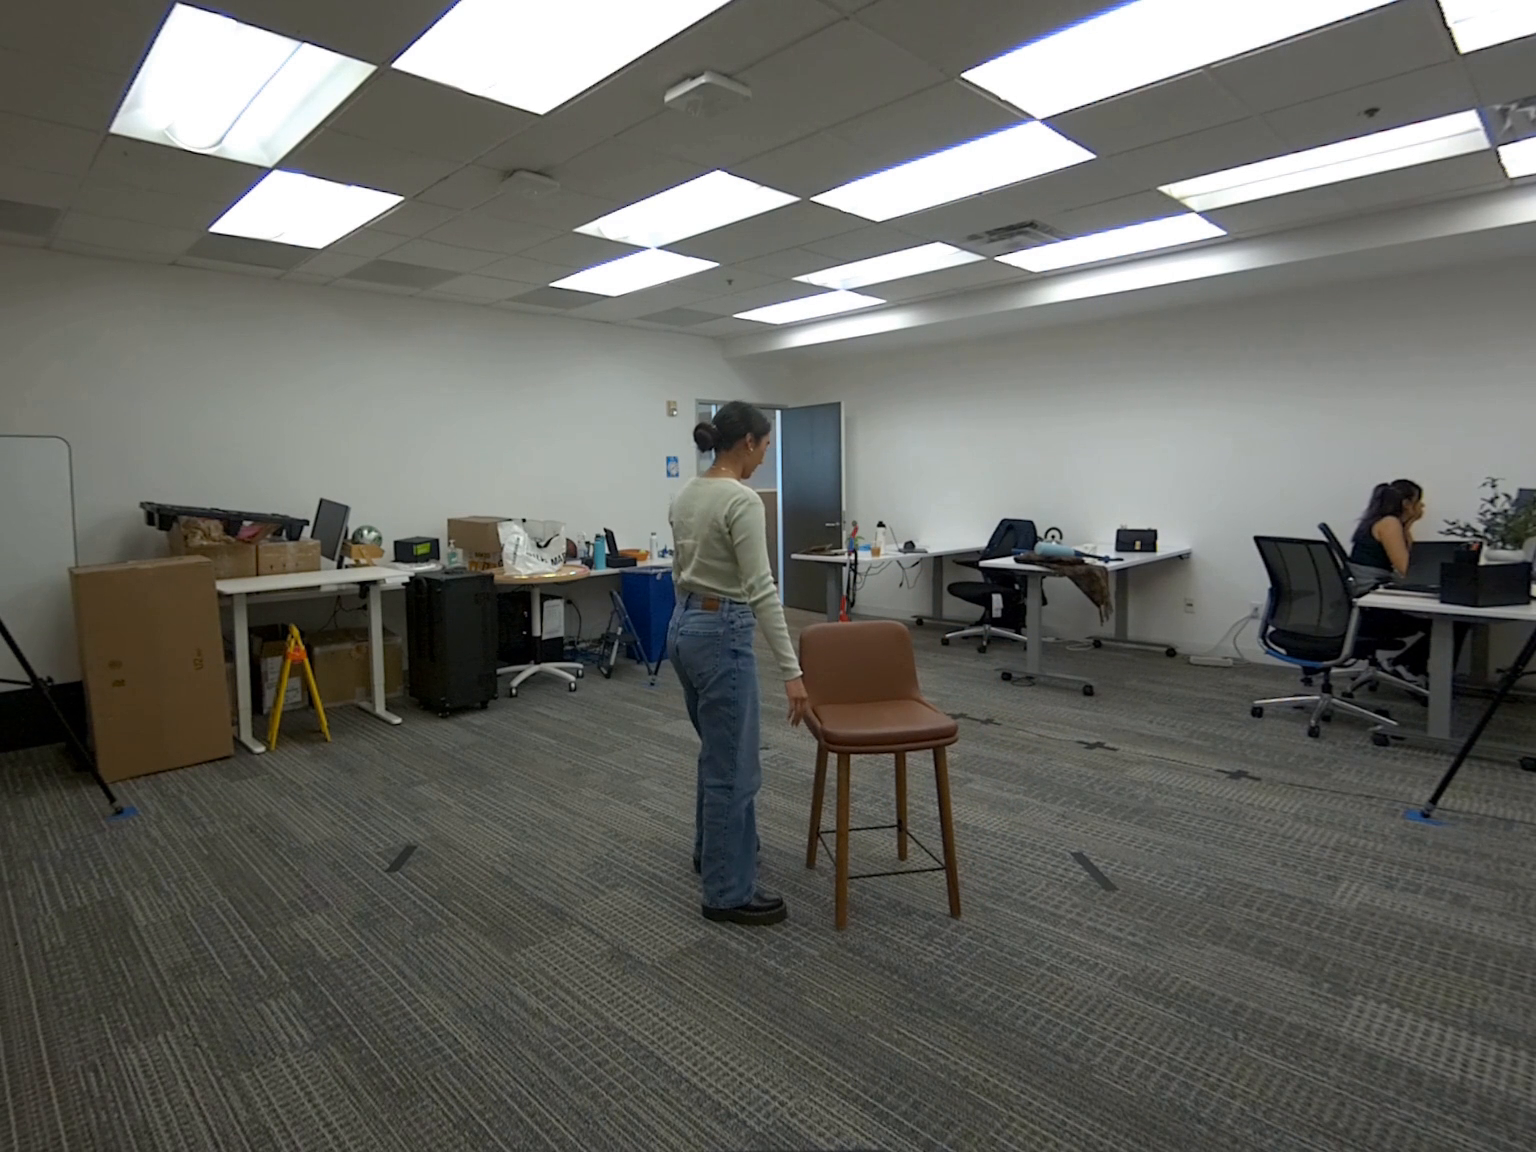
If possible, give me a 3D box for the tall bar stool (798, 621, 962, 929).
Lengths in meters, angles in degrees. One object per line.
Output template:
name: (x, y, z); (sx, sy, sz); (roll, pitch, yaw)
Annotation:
tall bar stool: (0.361, 0.628, 2.864); (0.452, 0.888, 0.473); (-1, 3, -11)
